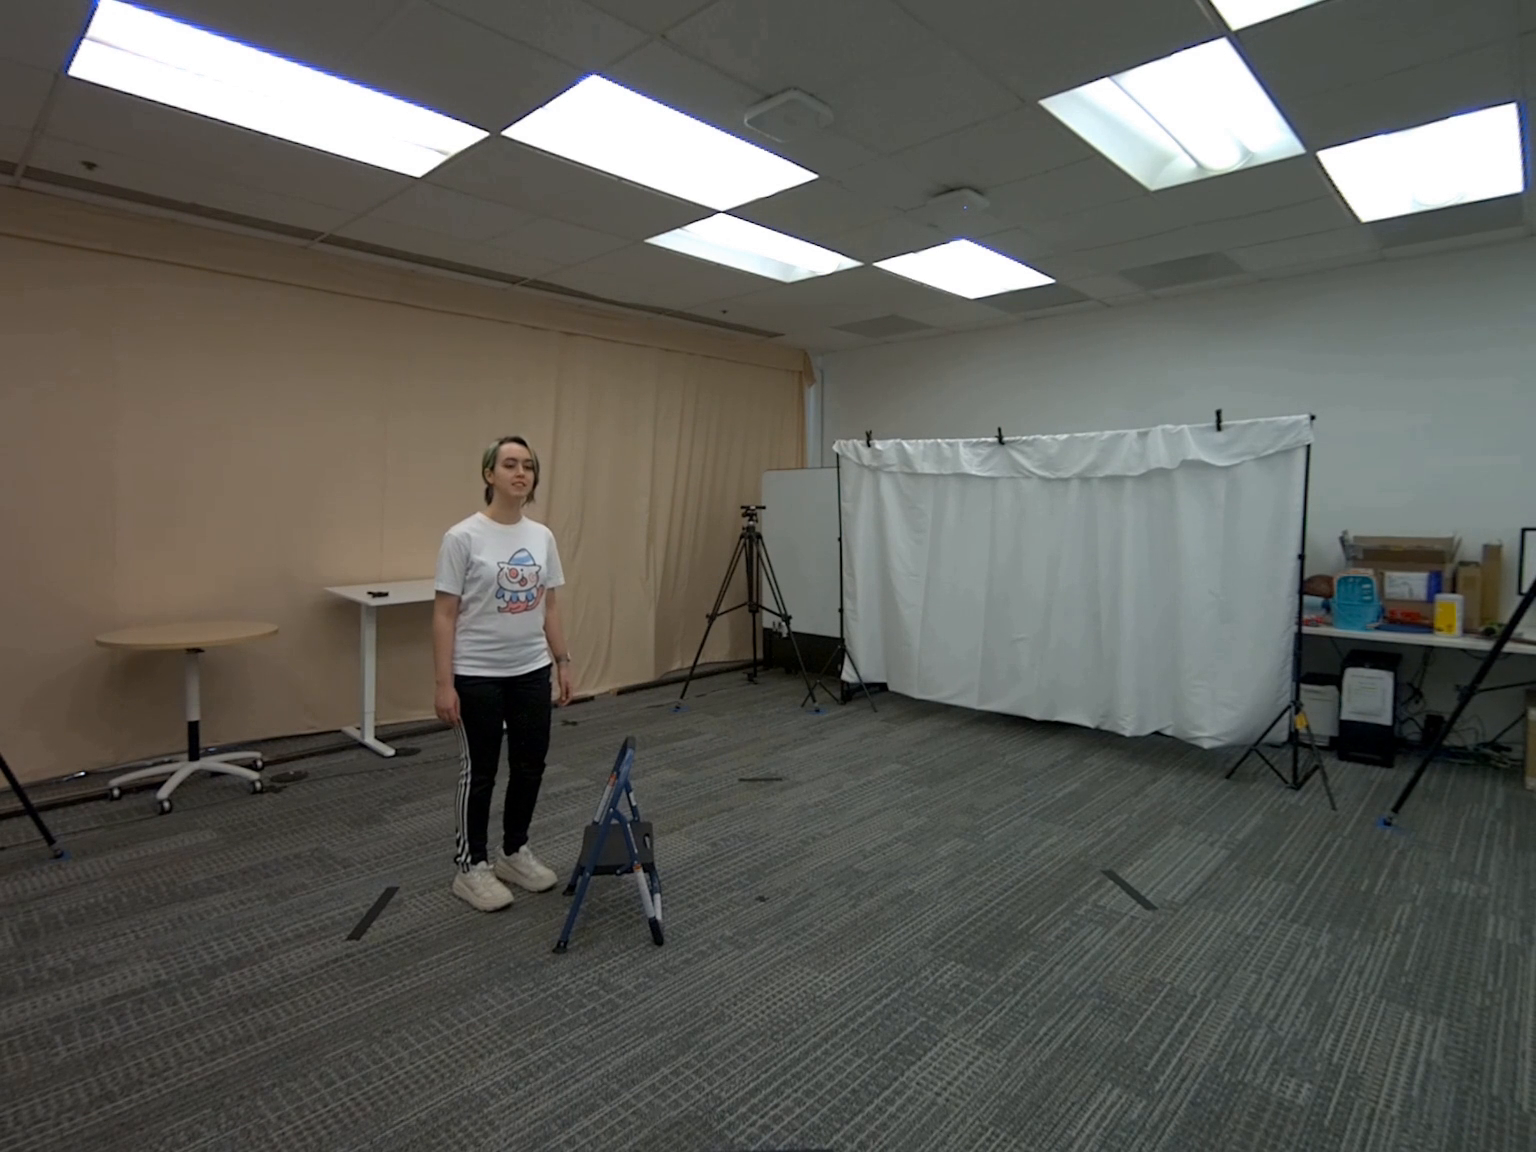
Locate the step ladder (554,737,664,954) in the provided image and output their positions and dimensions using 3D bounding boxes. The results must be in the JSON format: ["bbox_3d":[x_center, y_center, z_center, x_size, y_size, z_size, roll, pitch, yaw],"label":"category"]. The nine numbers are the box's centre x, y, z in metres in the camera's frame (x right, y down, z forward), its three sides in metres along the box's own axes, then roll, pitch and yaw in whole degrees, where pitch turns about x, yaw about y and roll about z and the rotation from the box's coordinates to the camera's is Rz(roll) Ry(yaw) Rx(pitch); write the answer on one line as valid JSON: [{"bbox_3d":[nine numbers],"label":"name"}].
[{"bbox_3d":[-0.529,0.860,2.835,0.347,0.605,0.434,-1,3,-7],"label":"step ladder"}]
